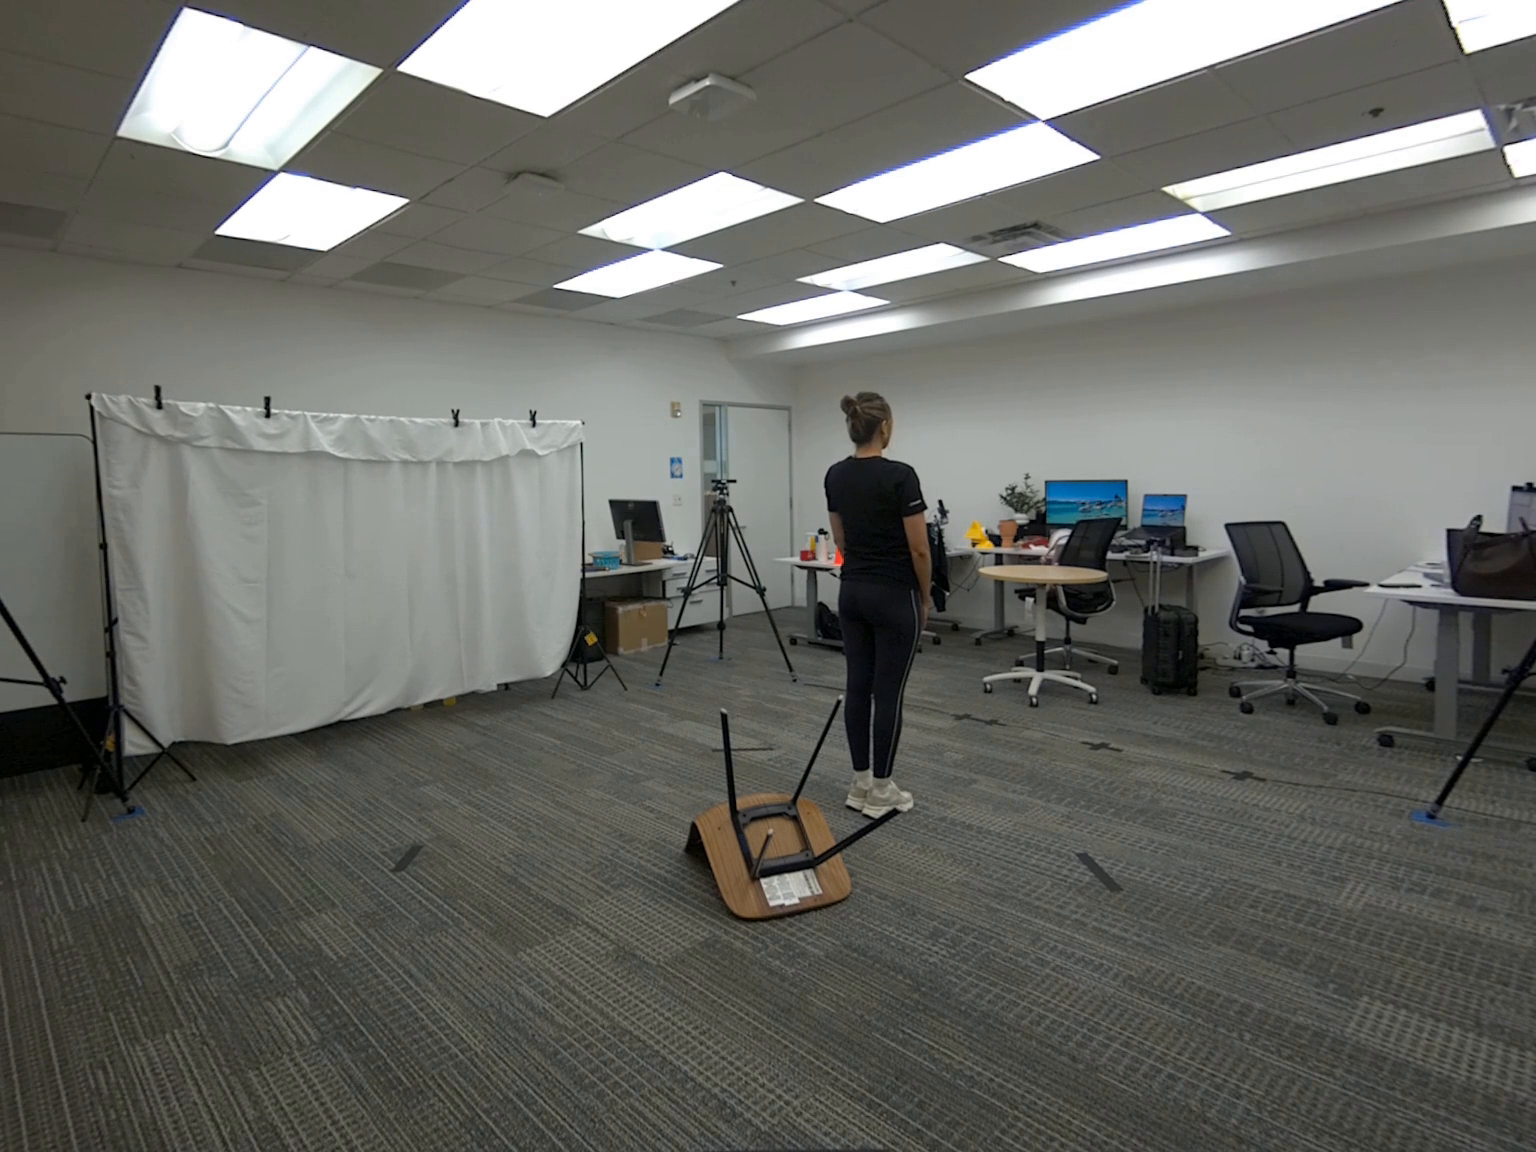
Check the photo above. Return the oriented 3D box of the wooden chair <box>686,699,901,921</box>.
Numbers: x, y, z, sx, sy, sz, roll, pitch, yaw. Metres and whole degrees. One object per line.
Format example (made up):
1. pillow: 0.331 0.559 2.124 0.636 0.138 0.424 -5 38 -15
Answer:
1. wooden chair: 0.023 0.896 2.914 0.468 0.864 0.542 -2 45 -25
